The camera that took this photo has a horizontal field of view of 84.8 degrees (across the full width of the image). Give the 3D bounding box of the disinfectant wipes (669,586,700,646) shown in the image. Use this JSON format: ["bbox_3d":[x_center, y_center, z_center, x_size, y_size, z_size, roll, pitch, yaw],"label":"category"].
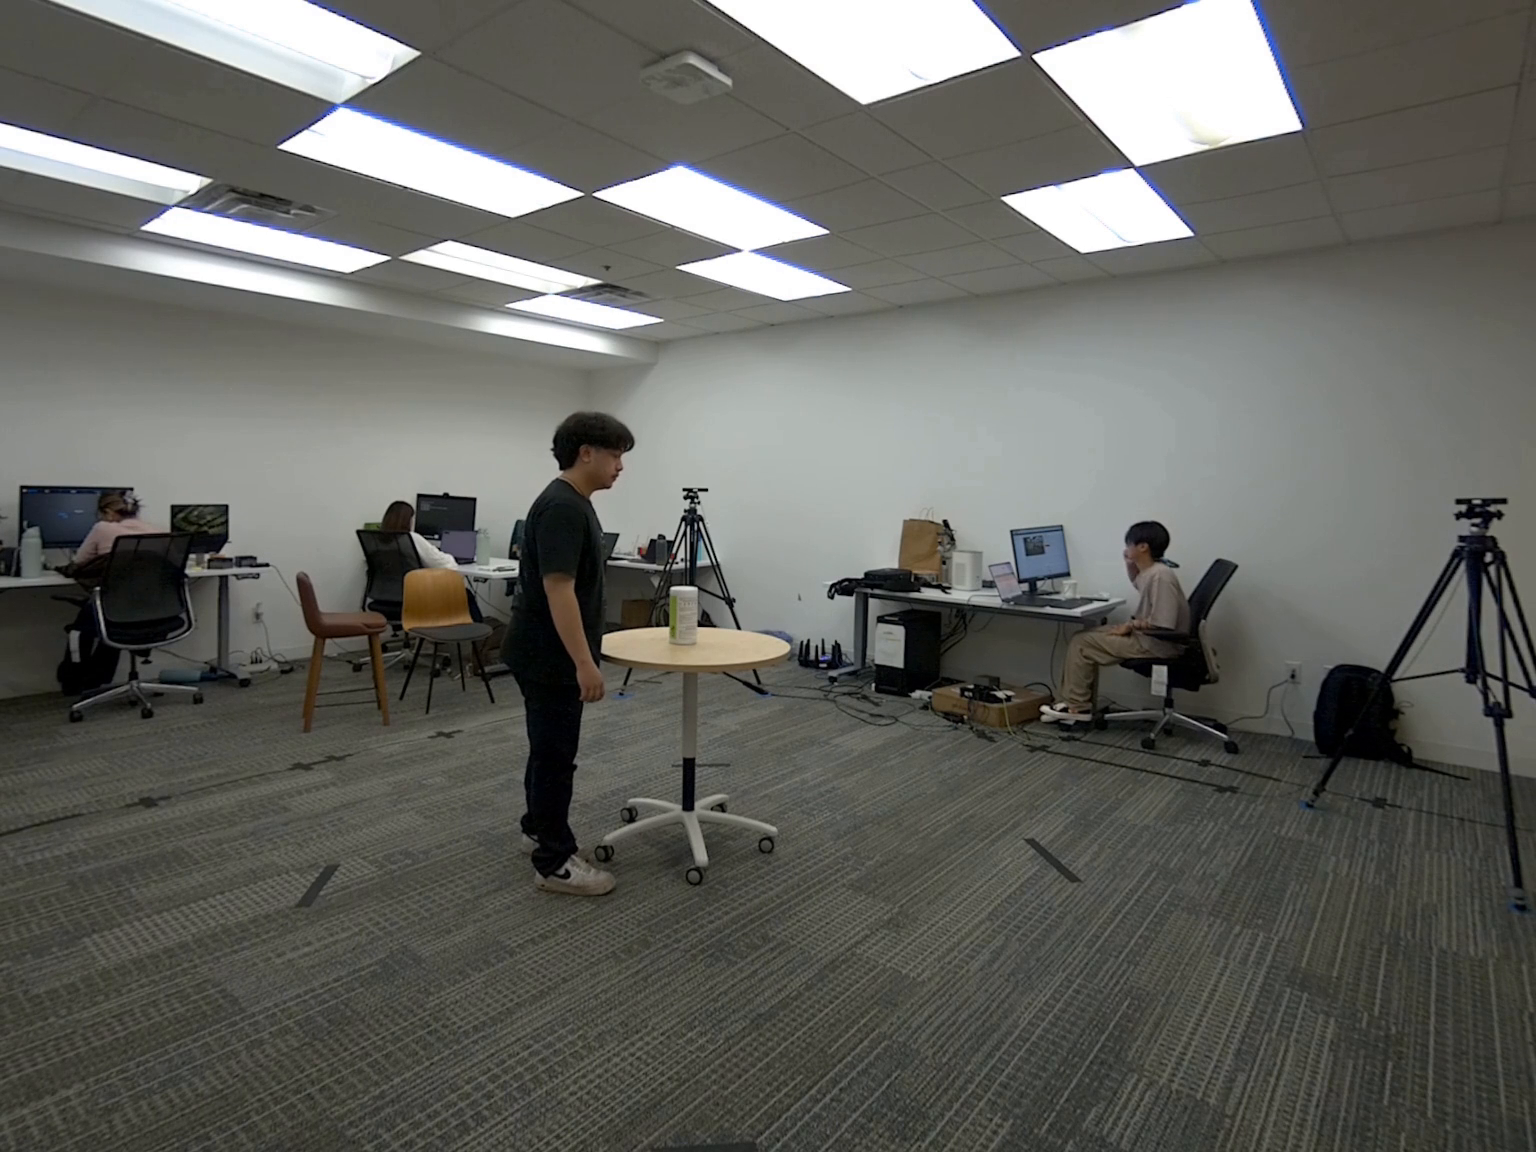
[{"bbox_3d":[-0.340,0.153,3.296,0.118,0.217,0.118,1,3,-2],"label":"disinfectant wipes"}]
